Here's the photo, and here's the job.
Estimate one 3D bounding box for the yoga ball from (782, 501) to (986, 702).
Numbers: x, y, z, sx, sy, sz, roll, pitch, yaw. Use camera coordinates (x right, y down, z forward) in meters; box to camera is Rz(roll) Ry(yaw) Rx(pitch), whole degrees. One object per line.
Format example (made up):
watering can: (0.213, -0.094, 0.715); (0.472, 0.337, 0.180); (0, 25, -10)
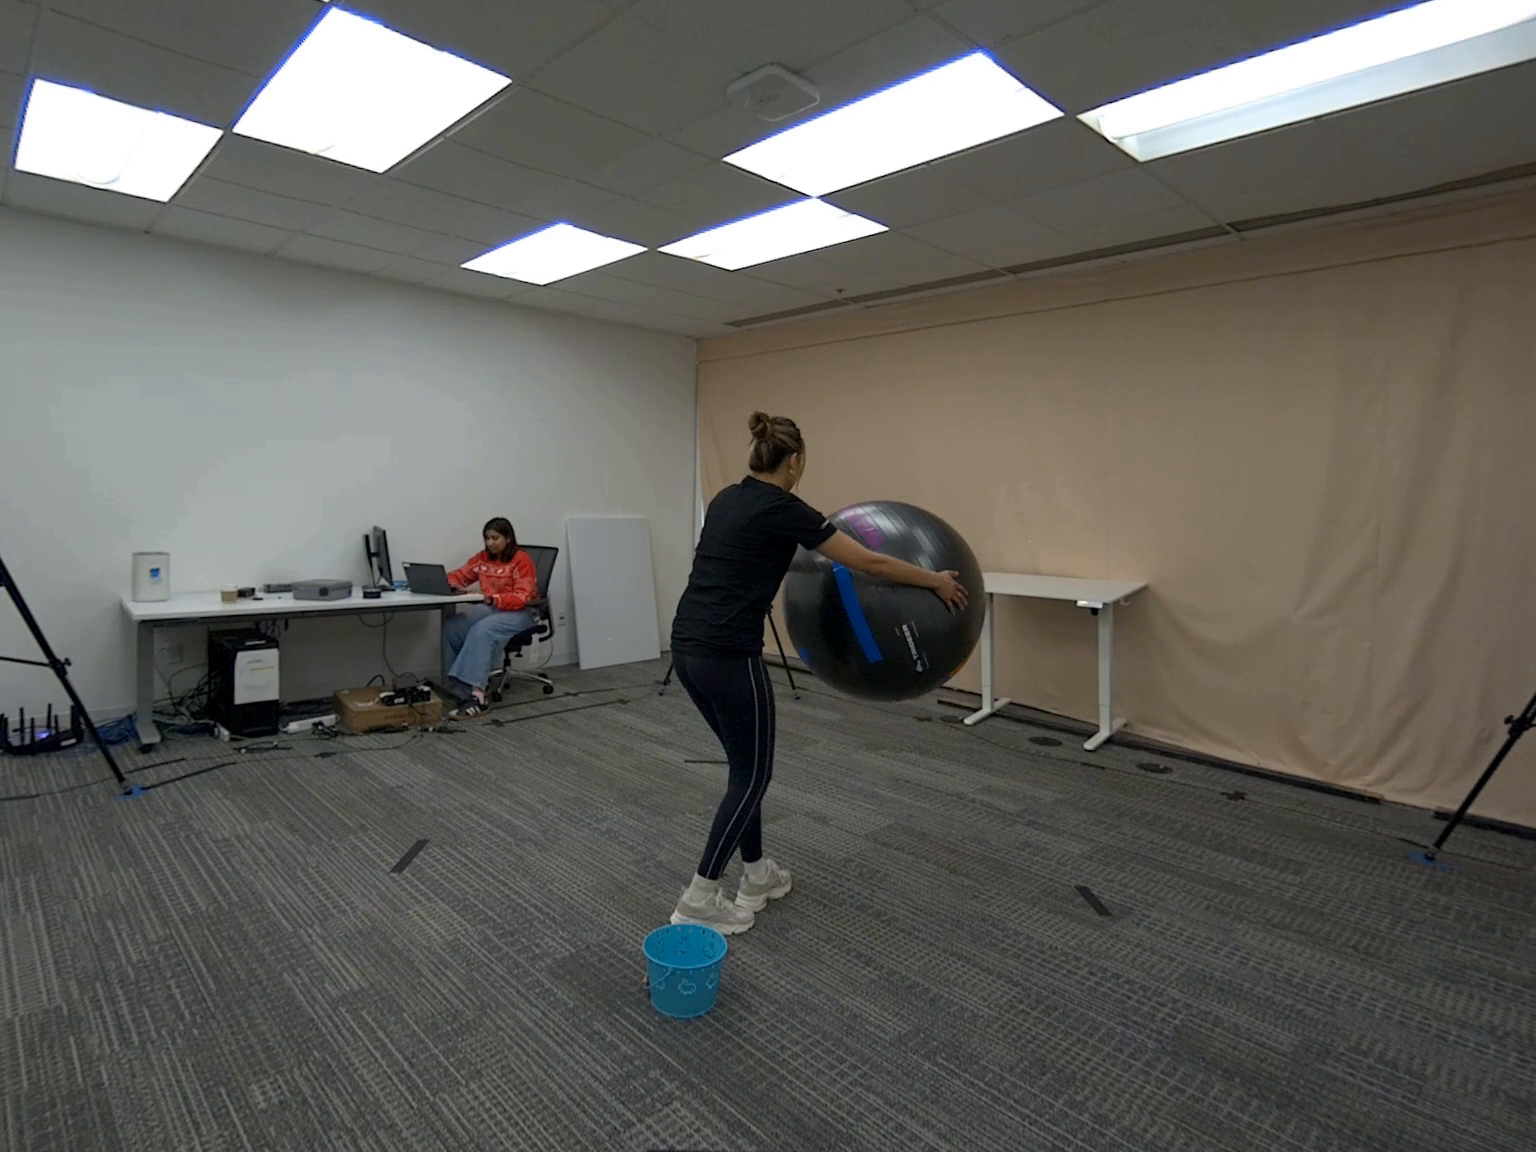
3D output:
yoga ball: (0.430, 0.105, 3.184); (0.757, 0.756, 0.761); (1, 4, -1)
